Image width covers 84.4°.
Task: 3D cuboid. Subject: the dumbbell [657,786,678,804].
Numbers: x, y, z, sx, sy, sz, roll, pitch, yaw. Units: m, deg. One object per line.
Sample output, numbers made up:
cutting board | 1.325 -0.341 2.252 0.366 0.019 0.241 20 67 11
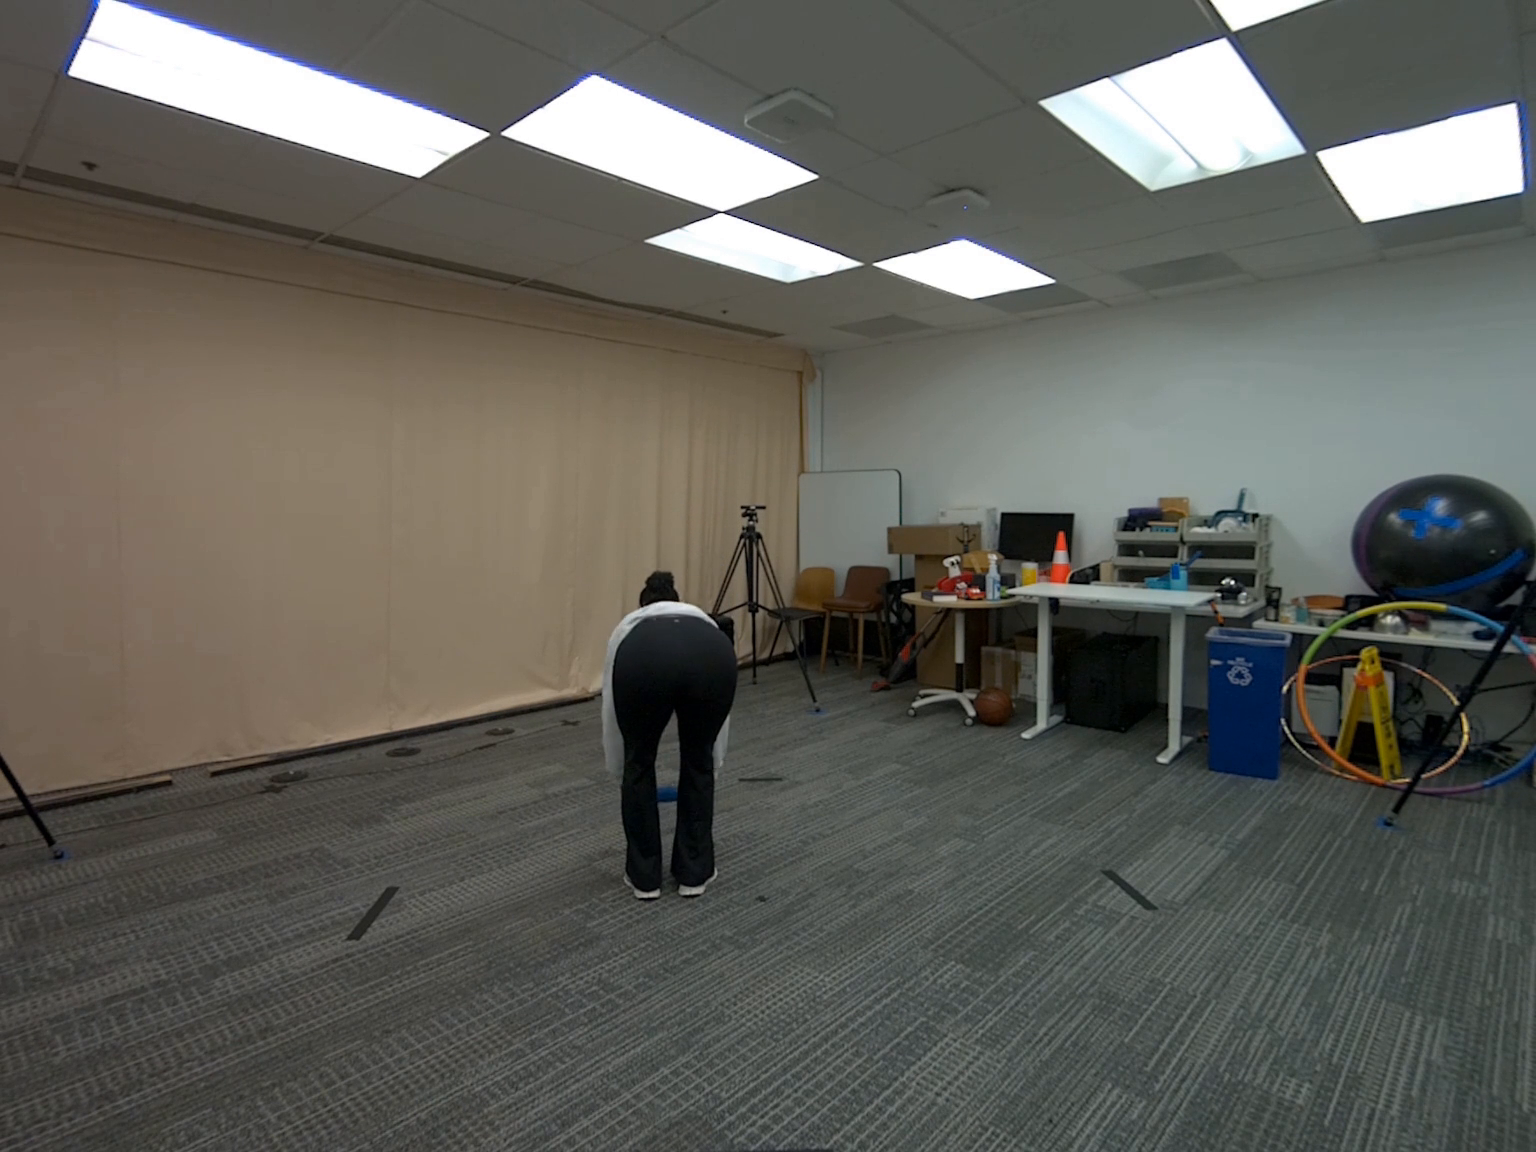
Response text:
dumbbell | -0.407 0.865 3.346 0.291 0.108 0.125 -2 11 -9
